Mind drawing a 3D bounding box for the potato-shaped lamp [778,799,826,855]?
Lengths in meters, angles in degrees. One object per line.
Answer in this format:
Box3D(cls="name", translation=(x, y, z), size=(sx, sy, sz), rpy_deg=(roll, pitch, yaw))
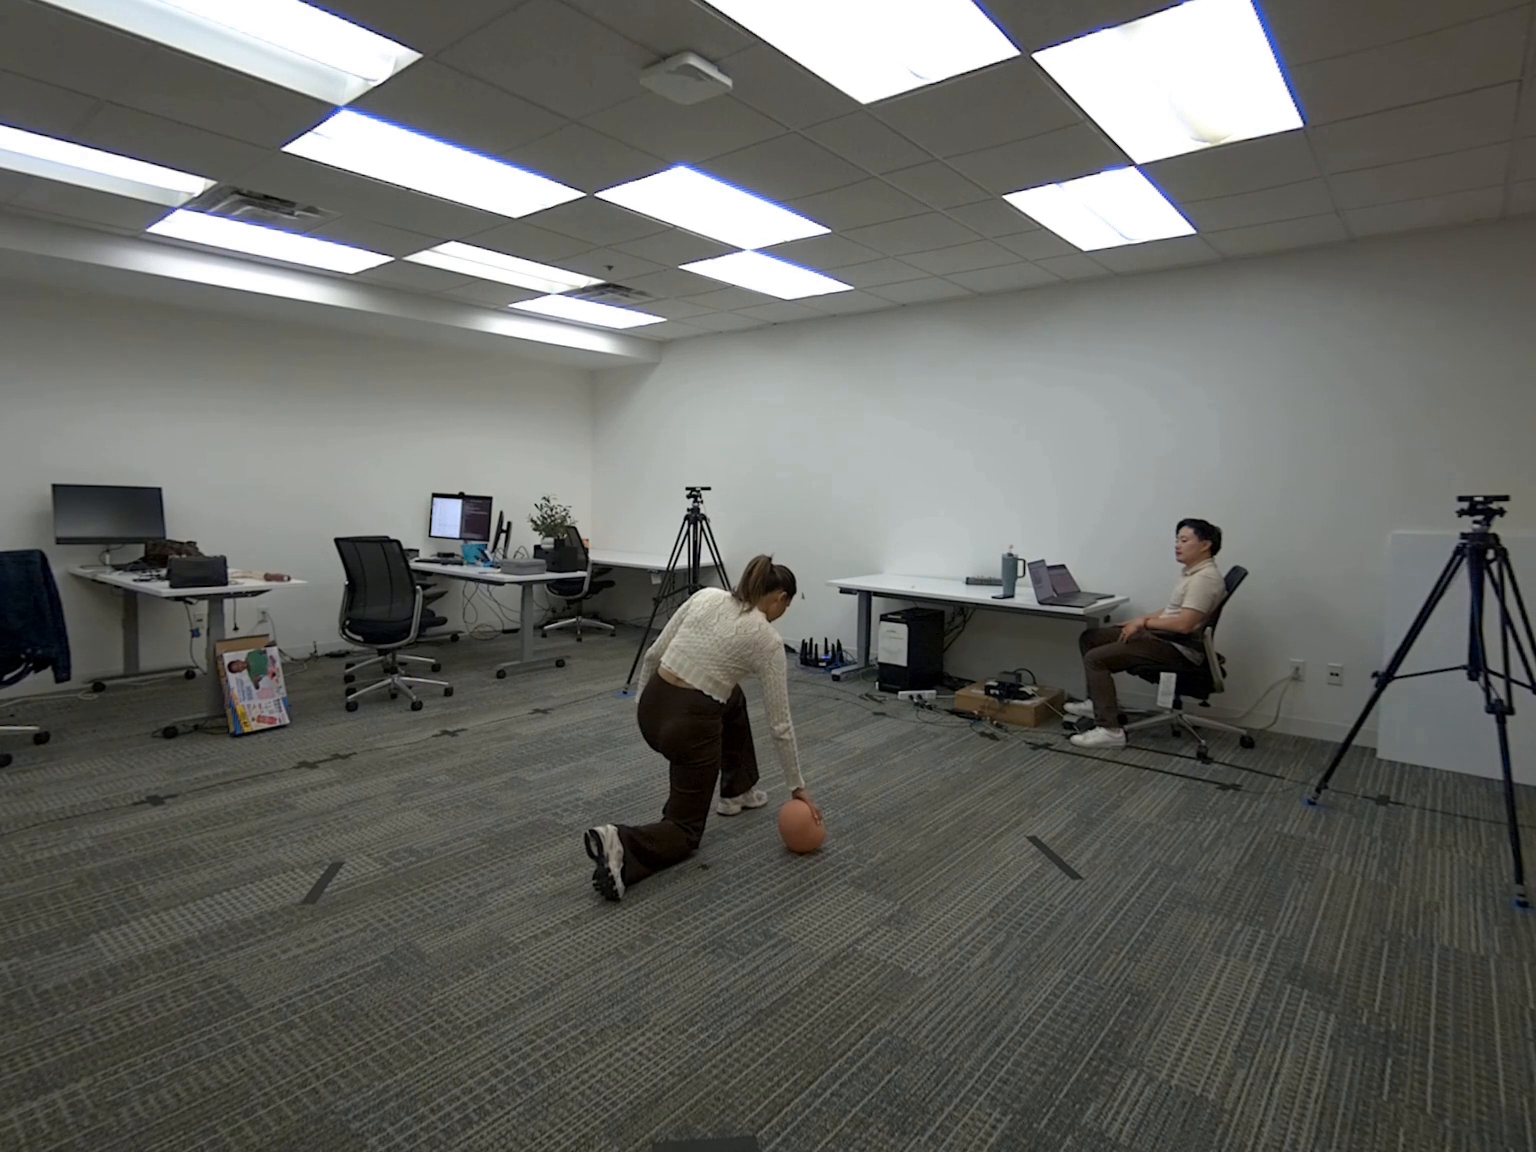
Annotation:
Box3D(cls="potato-shaped lamp", translation=(0.113, 0.956, 3.274), size=(0.171, 0.192, 0.170), rpy_deg=(9, 38, 46))
